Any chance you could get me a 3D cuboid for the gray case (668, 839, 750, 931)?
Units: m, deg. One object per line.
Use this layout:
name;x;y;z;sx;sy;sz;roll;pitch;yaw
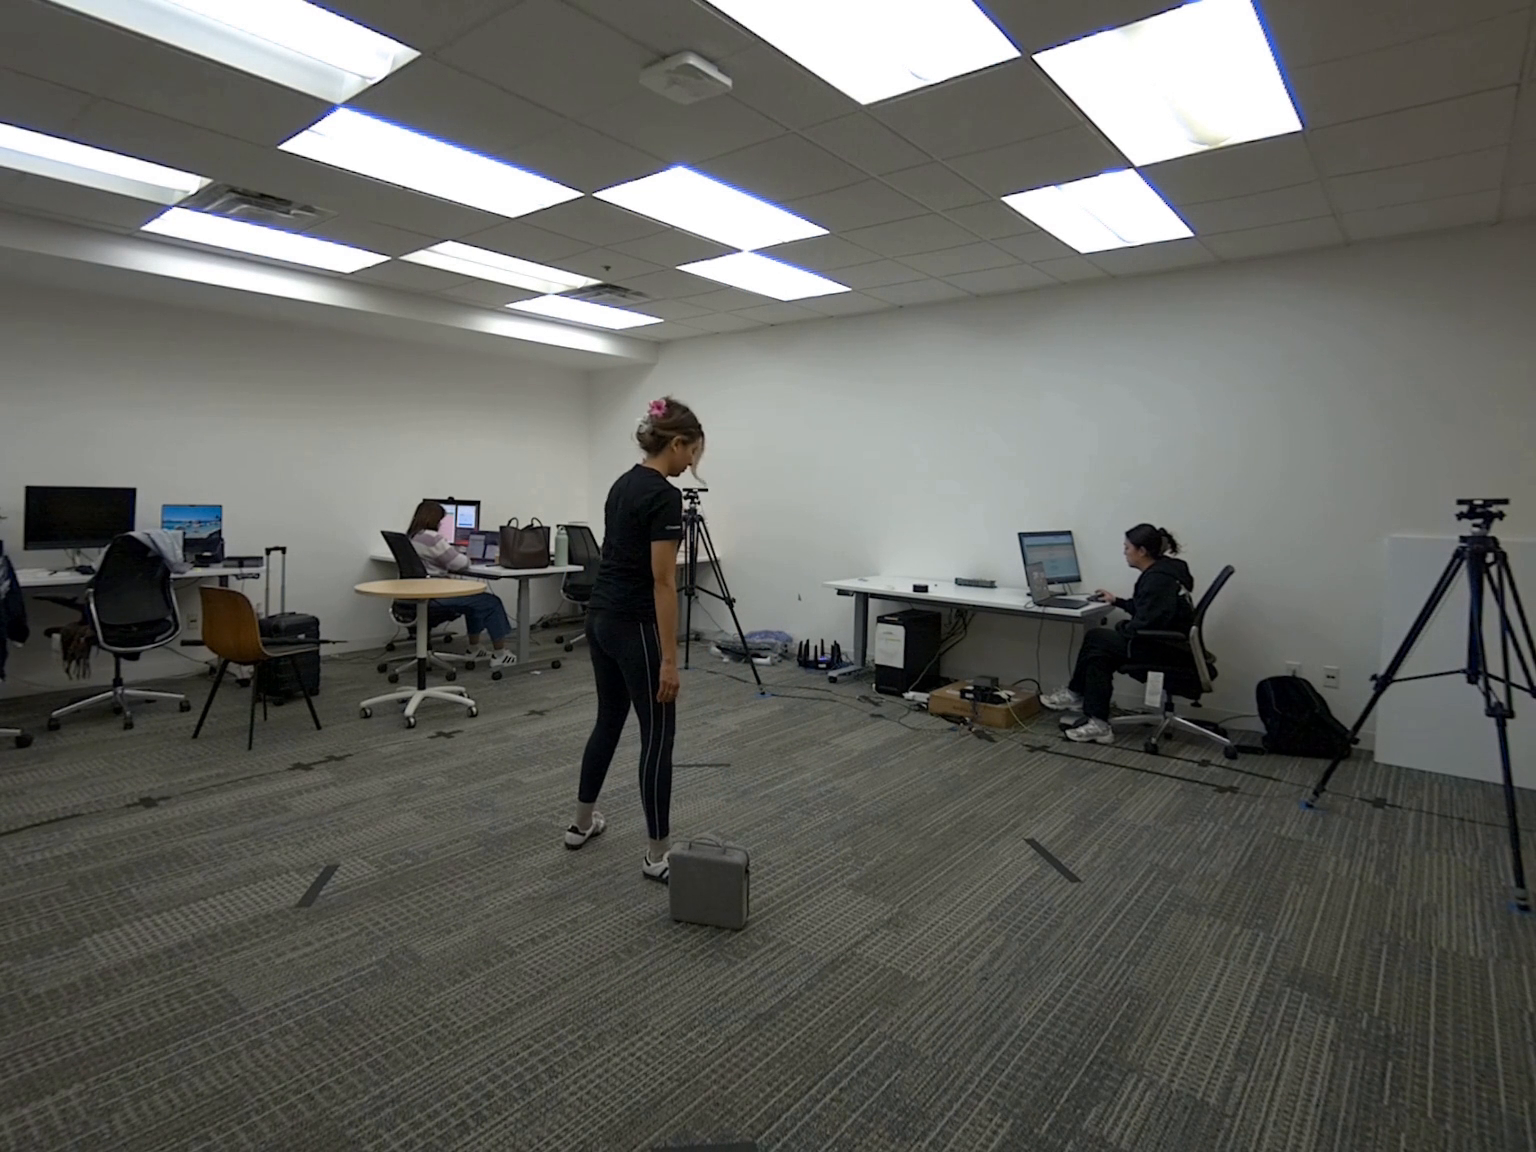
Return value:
gray case;-0.193;0.973;2.719;0.260;0.258;0.104;1;9;13
